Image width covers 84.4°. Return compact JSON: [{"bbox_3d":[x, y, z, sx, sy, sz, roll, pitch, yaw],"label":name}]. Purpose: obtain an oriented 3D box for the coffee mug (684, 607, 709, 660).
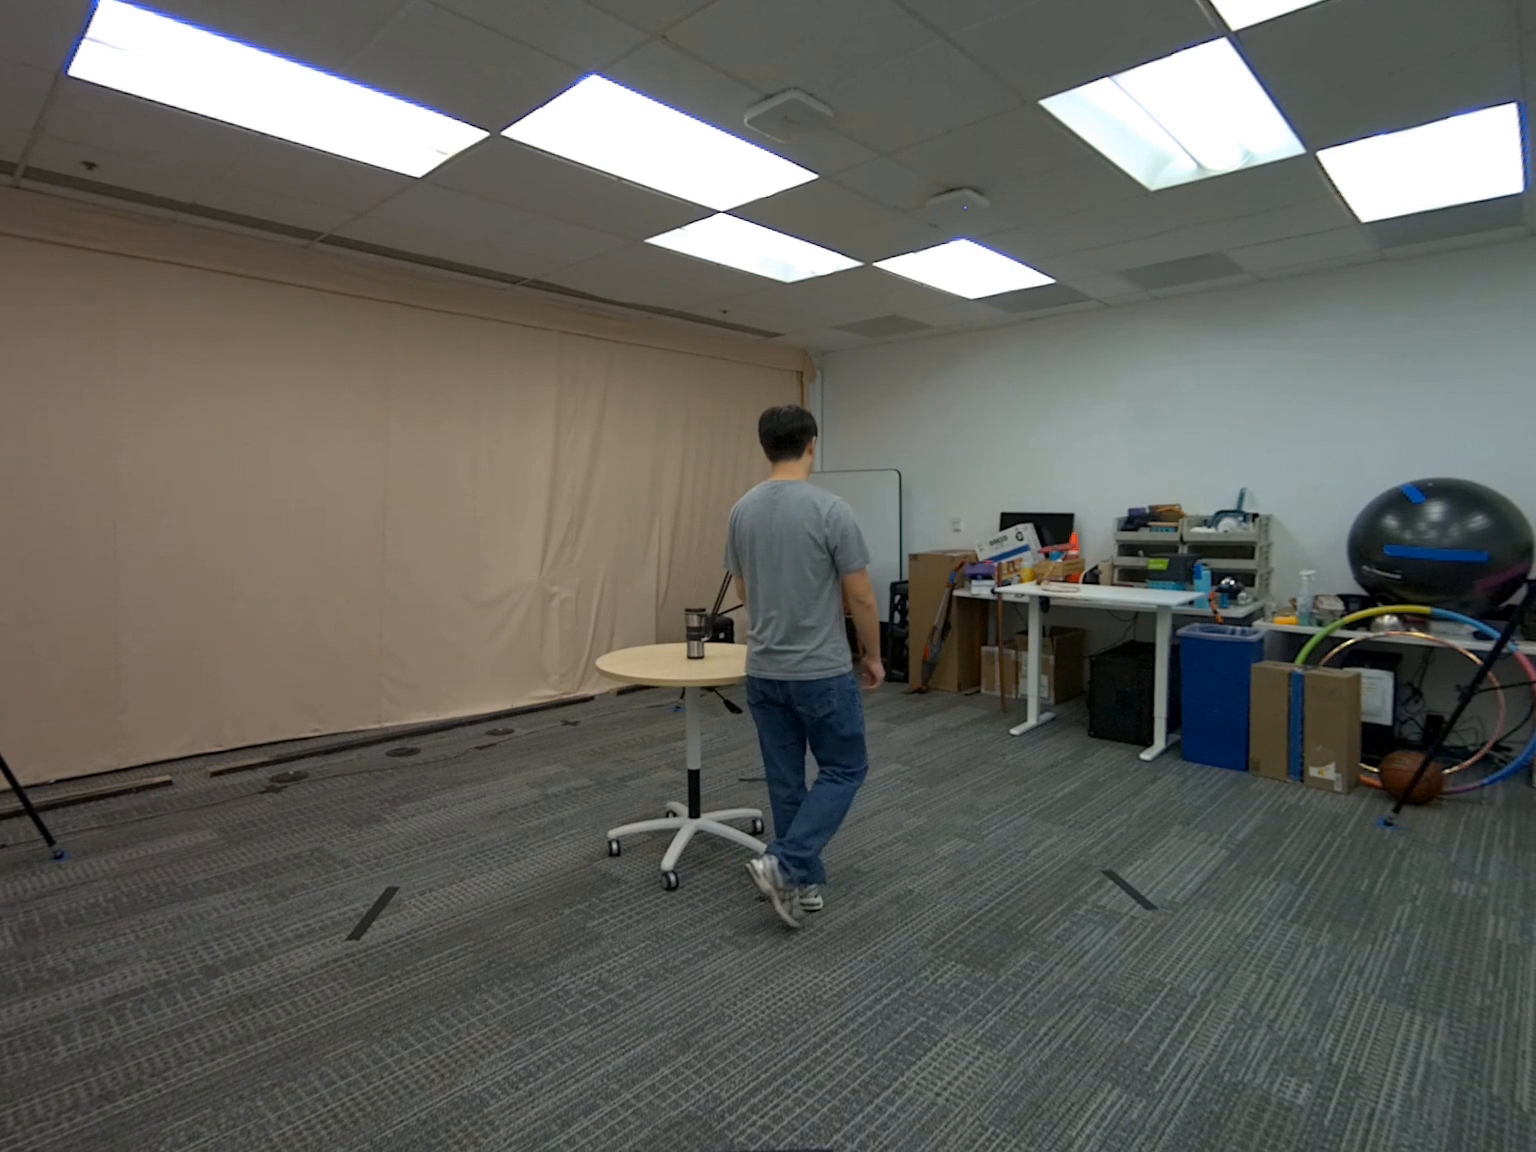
[{"bbox_3d":[-0.282,0.229,3.363,0.086,0.203,0.125,2,-2,-25],"label":"coffee mug"}]
